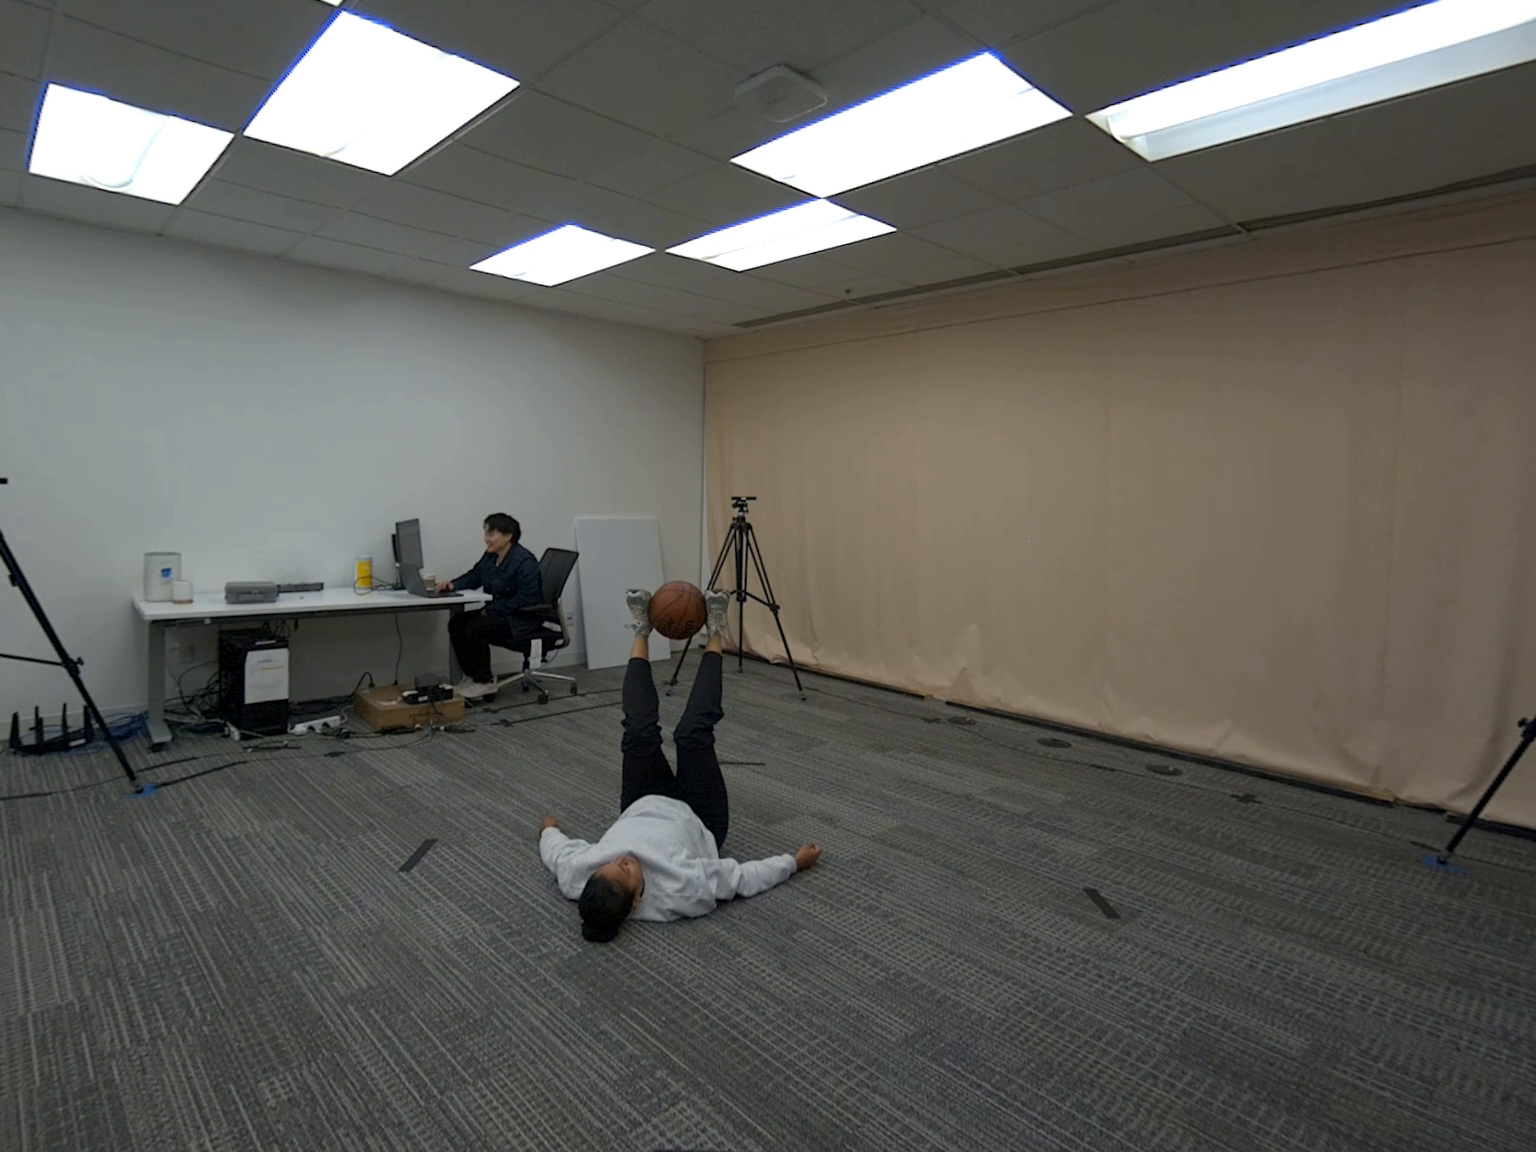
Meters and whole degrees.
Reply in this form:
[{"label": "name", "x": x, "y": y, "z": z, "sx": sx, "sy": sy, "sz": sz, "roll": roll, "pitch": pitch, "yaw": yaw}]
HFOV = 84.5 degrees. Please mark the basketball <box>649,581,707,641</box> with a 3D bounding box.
[{"label": "basketball", "x": -0.371, "y": 0.143, "z": 3.409, "sx": 0.235, "sy": 0.235, "sz": 0.237, "roll": 4, "pitch": 7, "yaw": -2}]
